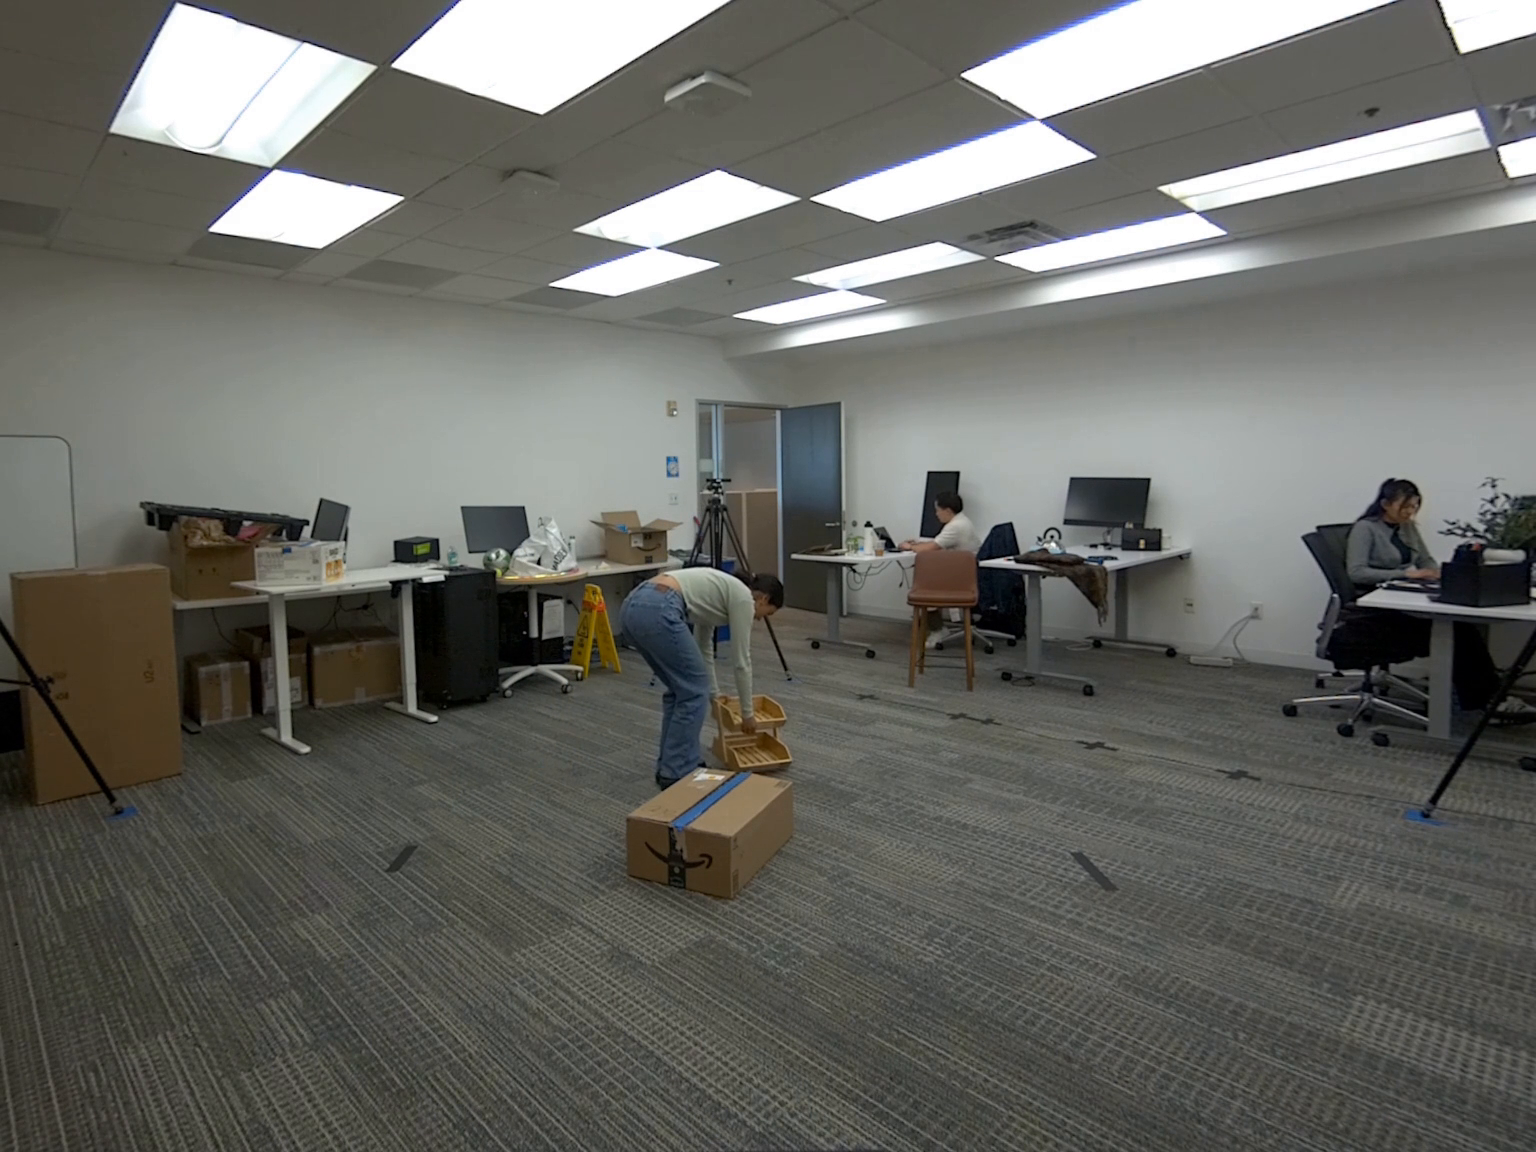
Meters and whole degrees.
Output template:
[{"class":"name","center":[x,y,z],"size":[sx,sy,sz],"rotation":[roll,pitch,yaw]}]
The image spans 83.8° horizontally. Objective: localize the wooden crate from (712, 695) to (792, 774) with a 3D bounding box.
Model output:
[{"class":"wooden crate","center":[-0.077,0.748,4.093],"size":[0.315,0.271,0.312],"rotation":[2,12,-34]}]
